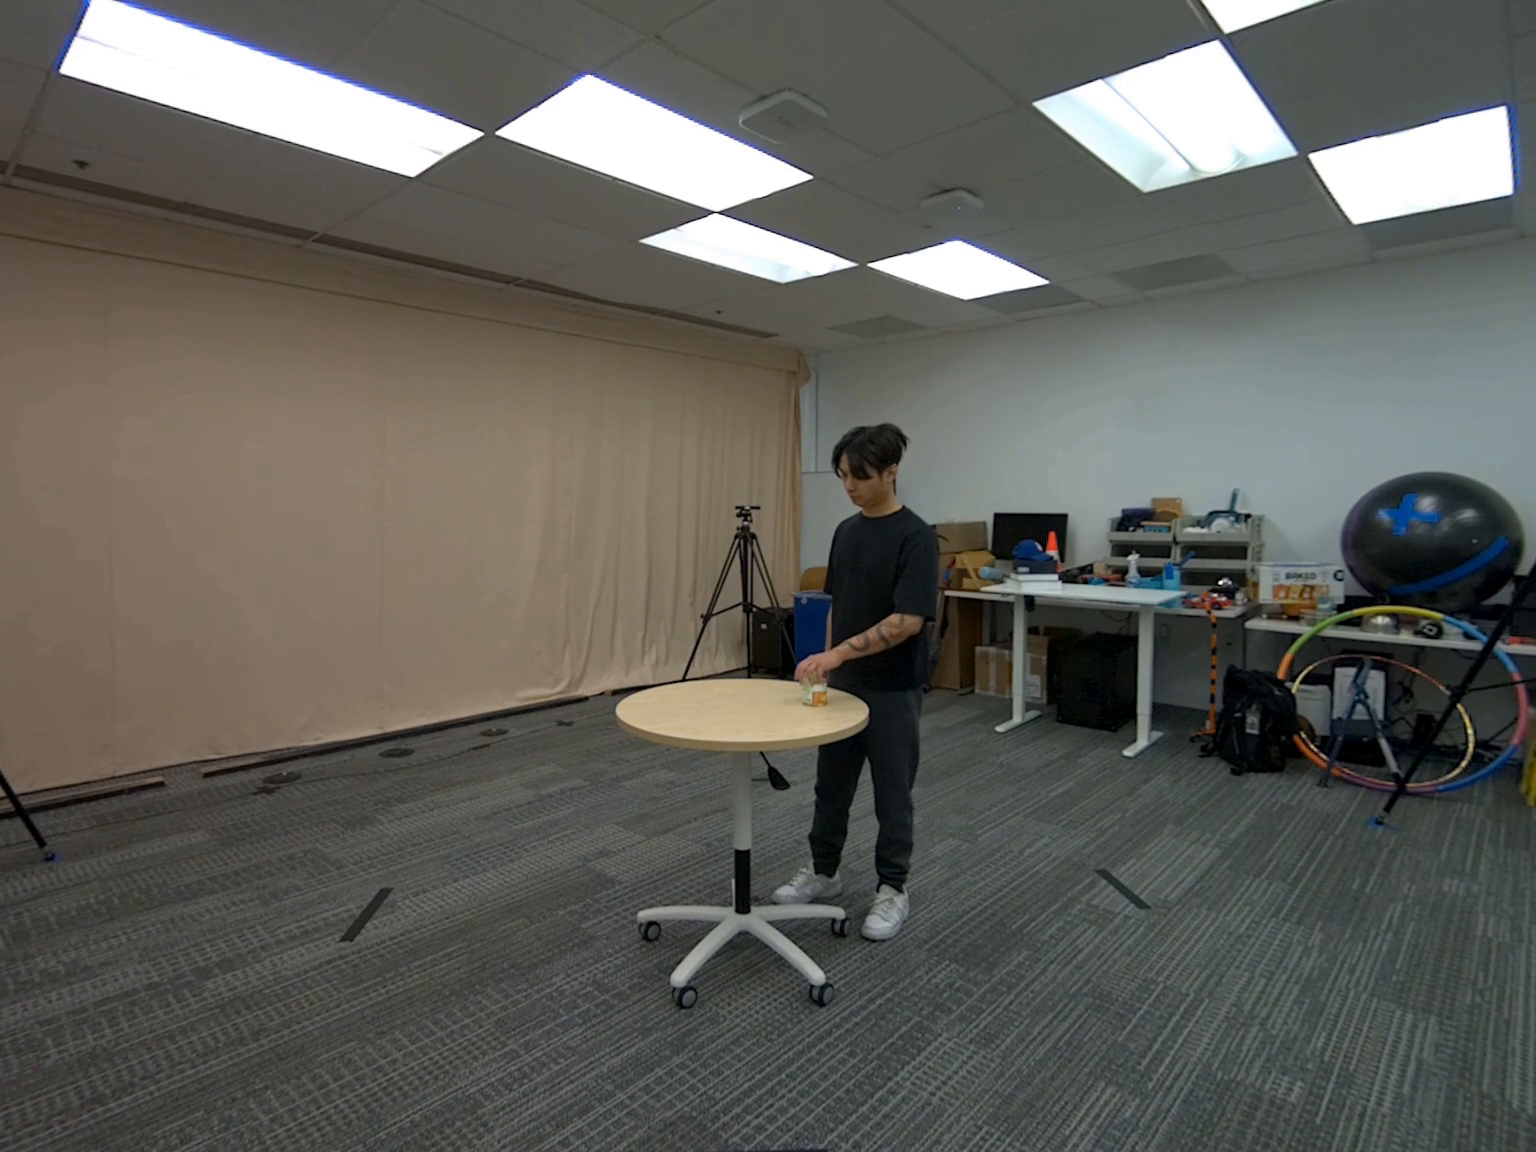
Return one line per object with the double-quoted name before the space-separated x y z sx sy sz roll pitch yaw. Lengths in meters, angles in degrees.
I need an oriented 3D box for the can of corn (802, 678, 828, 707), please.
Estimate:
"can of corn" 0.145 0.337 2.581 0.074 0.111 0.074 4 3 -2
